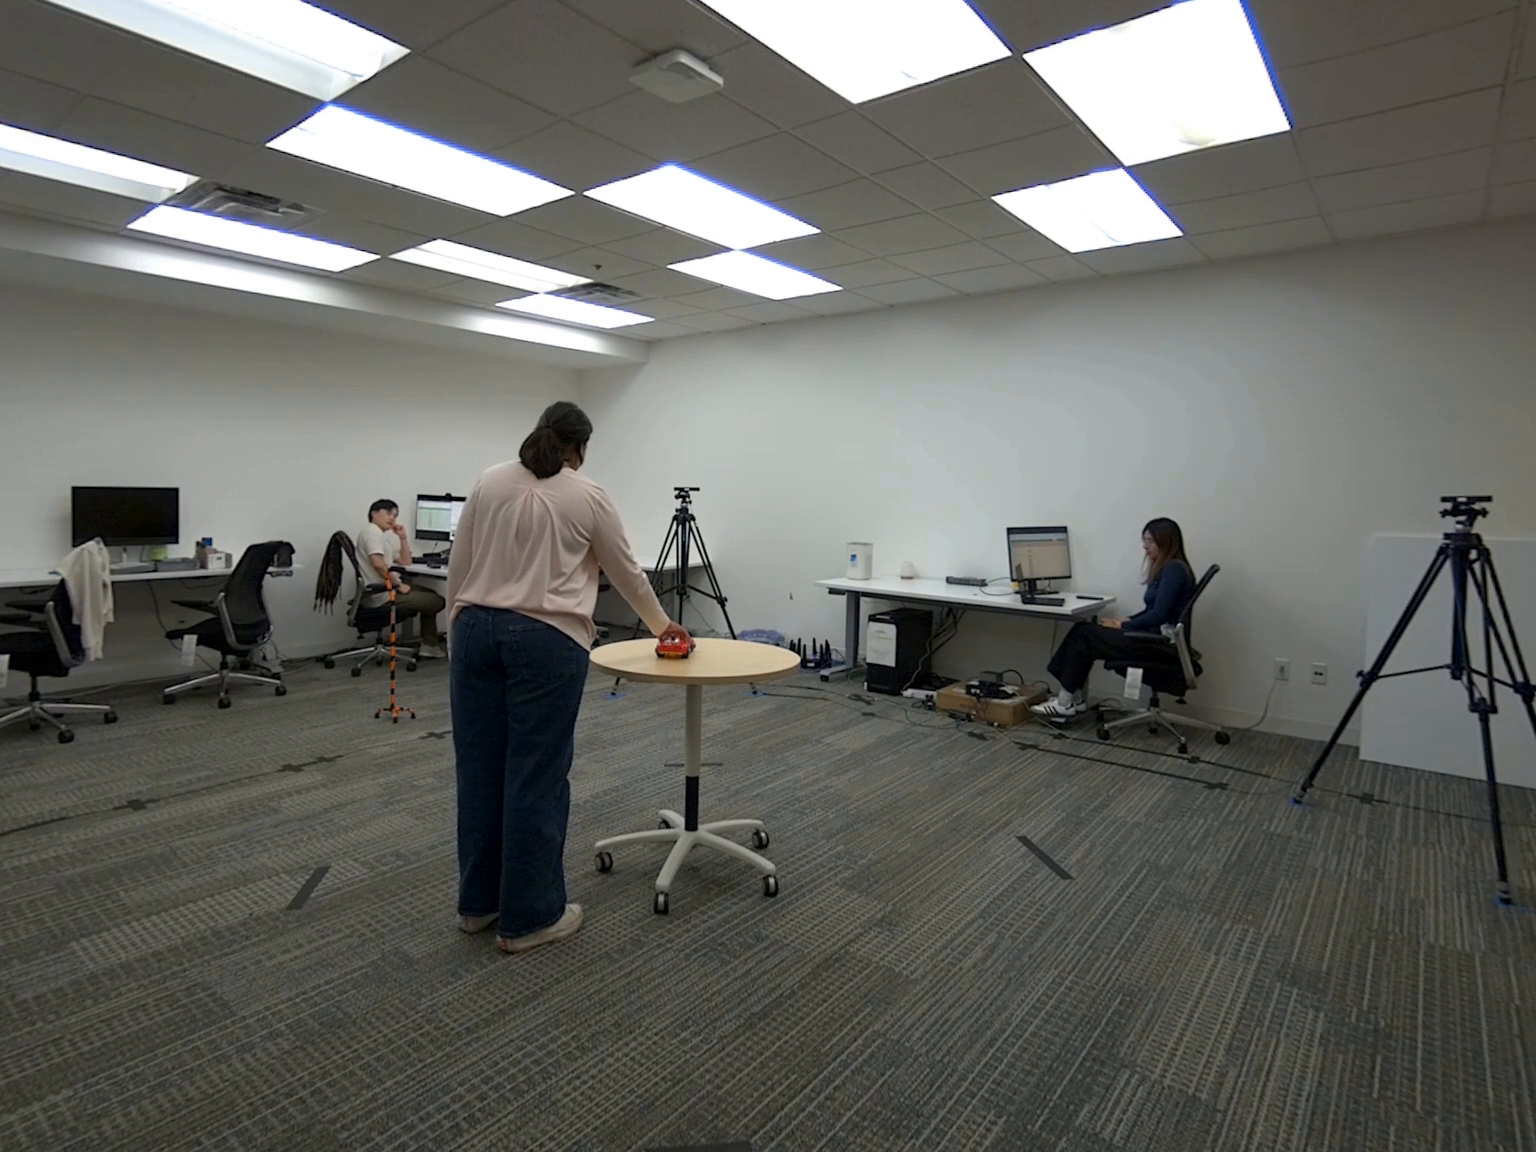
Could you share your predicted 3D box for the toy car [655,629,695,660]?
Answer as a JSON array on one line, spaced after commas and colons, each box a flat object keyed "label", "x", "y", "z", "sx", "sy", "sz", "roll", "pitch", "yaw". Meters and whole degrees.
[{"label": "toy car", "x": -0.344, "y": 0.250, "z": 3.080, "sx": 0.131, "sy": 0.084, "sz": 0.252, "roll": 0, "pitch": -6, "yaw": 1}]
